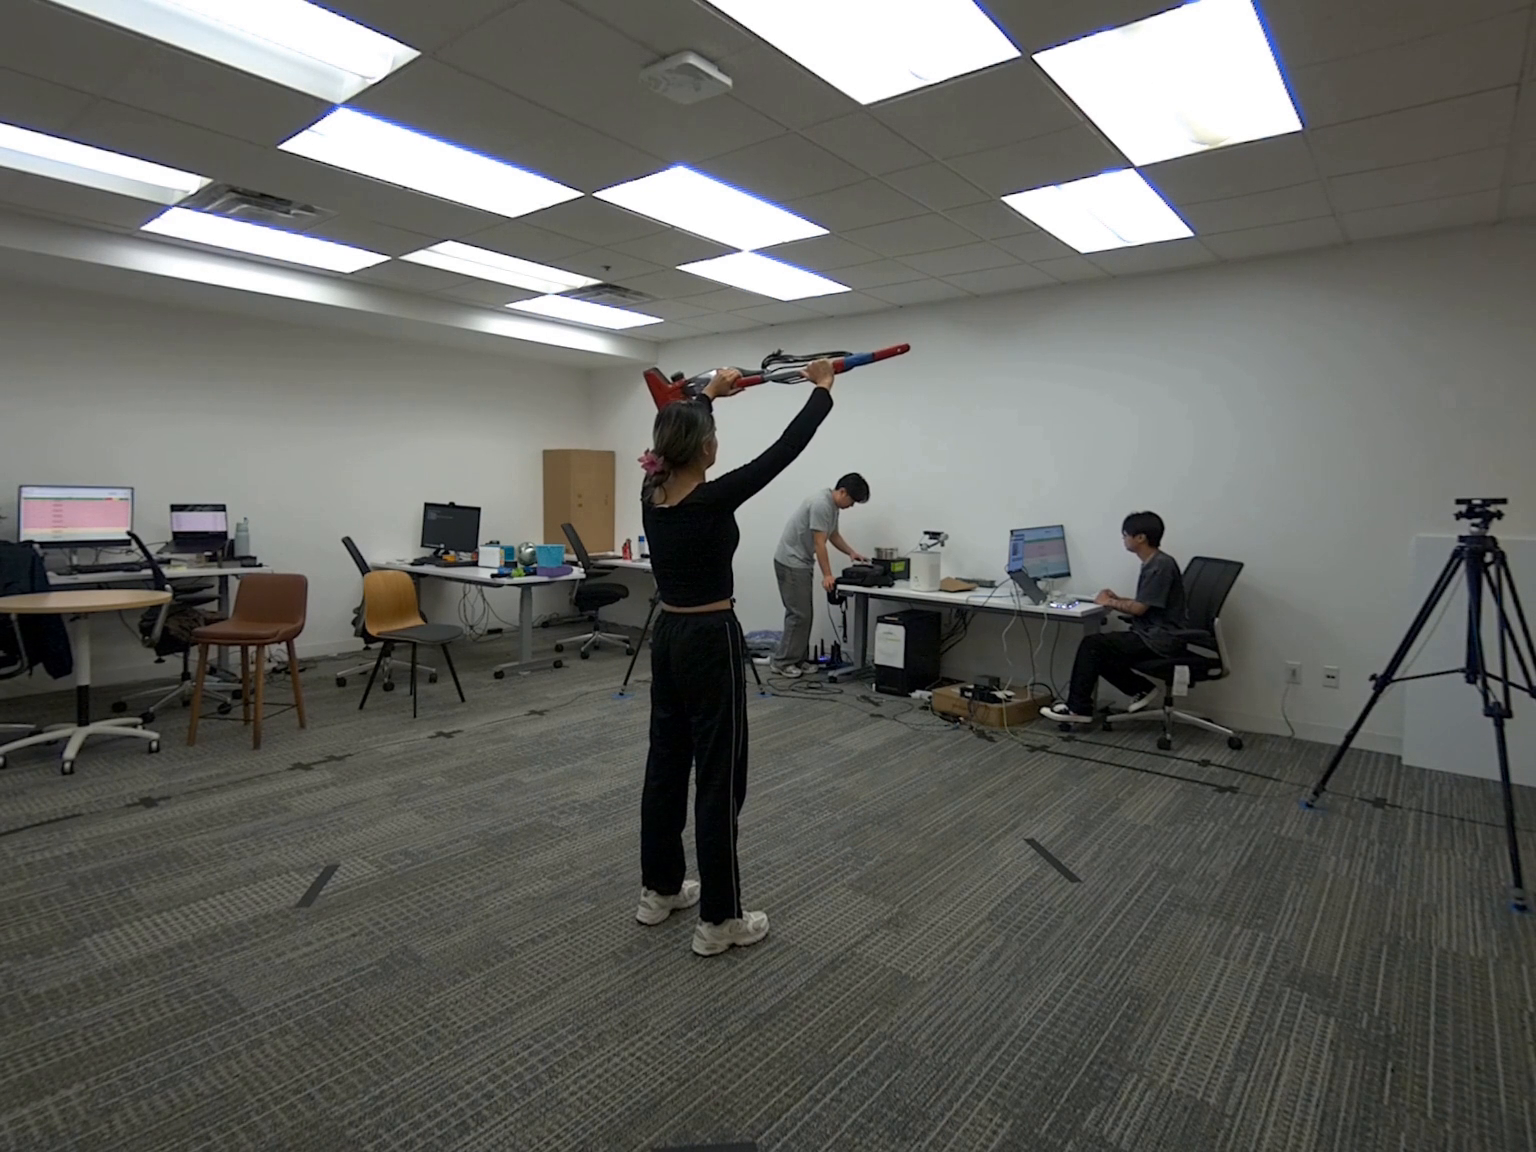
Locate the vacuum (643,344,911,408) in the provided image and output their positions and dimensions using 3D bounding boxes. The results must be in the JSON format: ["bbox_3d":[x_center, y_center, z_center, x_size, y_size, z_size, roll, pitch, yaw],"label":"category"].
[{"bbox_3d":[0.003,-0.698,2.933,1.082,0.246,0.143,0,31,42],"label":"vacuum"}]
